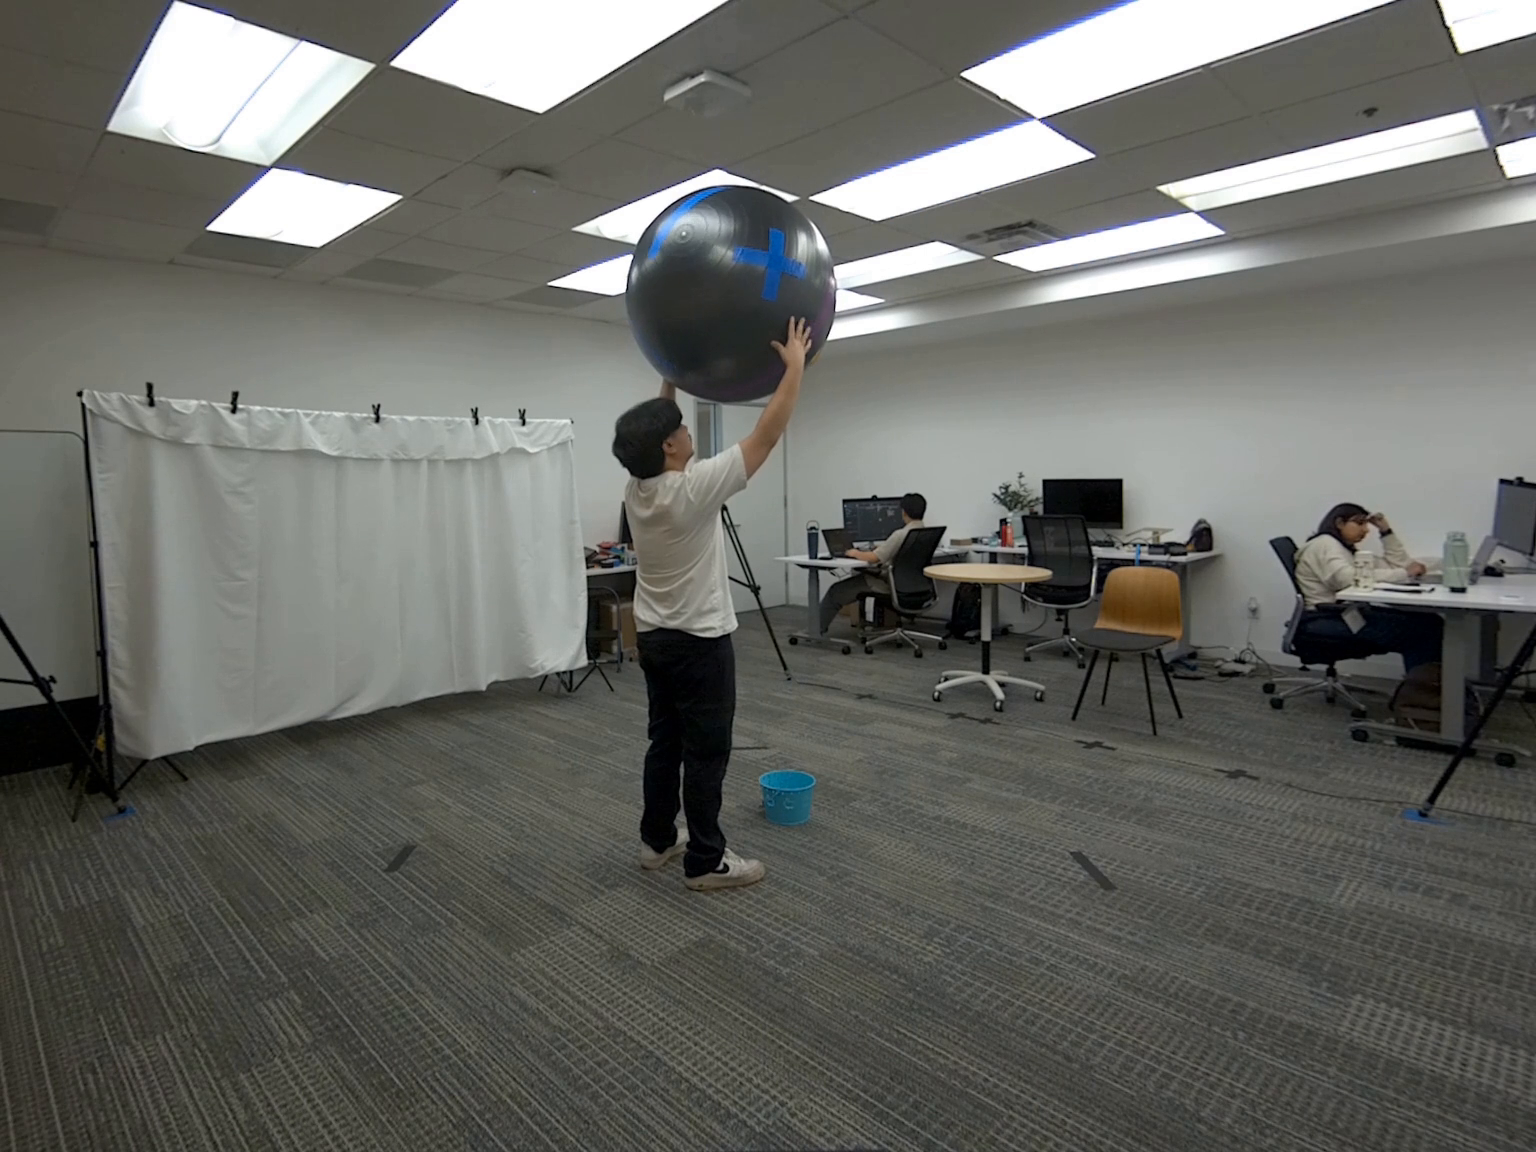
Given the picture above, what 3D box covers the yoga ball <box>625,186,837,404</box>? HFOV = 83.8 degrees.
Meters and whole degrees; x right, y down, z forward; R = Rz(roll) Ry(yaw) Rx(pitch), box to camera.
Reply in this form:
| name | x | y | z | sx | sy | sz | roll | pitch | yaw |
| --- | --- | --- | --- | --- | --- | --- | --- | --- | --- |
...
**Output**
| name | x | y | z | sx | sy | sz | roll | pitch | yaw |
| --- | --- | --- | --- | --- | --- | --- | --- | --- | --- |
| yoga ball | -0.129 | -1.008 | 3.088 | 0.757 | 0.755 | 0.762 | -1 | 5 | -2 |
